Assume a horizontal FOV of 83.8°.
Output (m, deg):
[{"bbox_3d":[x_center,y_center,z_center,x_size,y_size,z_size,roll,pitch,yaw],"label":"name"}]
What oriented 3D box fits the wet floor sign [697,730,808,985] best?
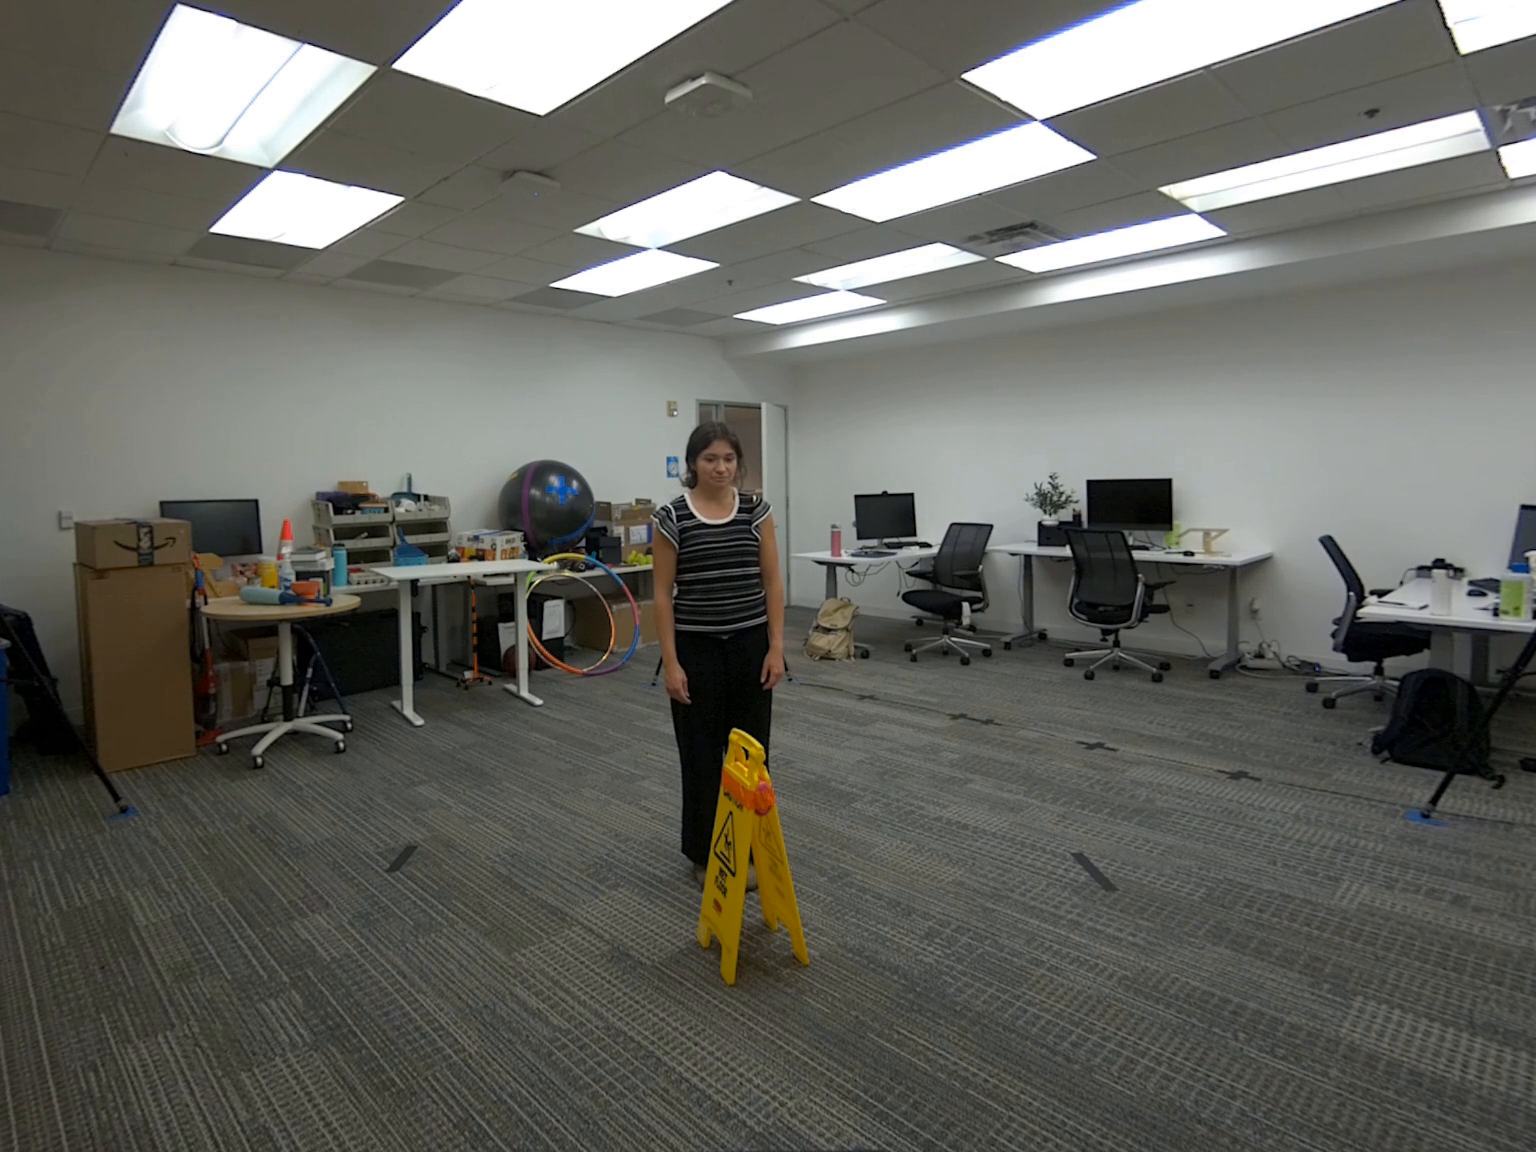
[{"bbox_3d":[-0.056,0.795,2.501,0.284,0.643,0.289,-4,5,-22],"label":"wet floor sign"}]
